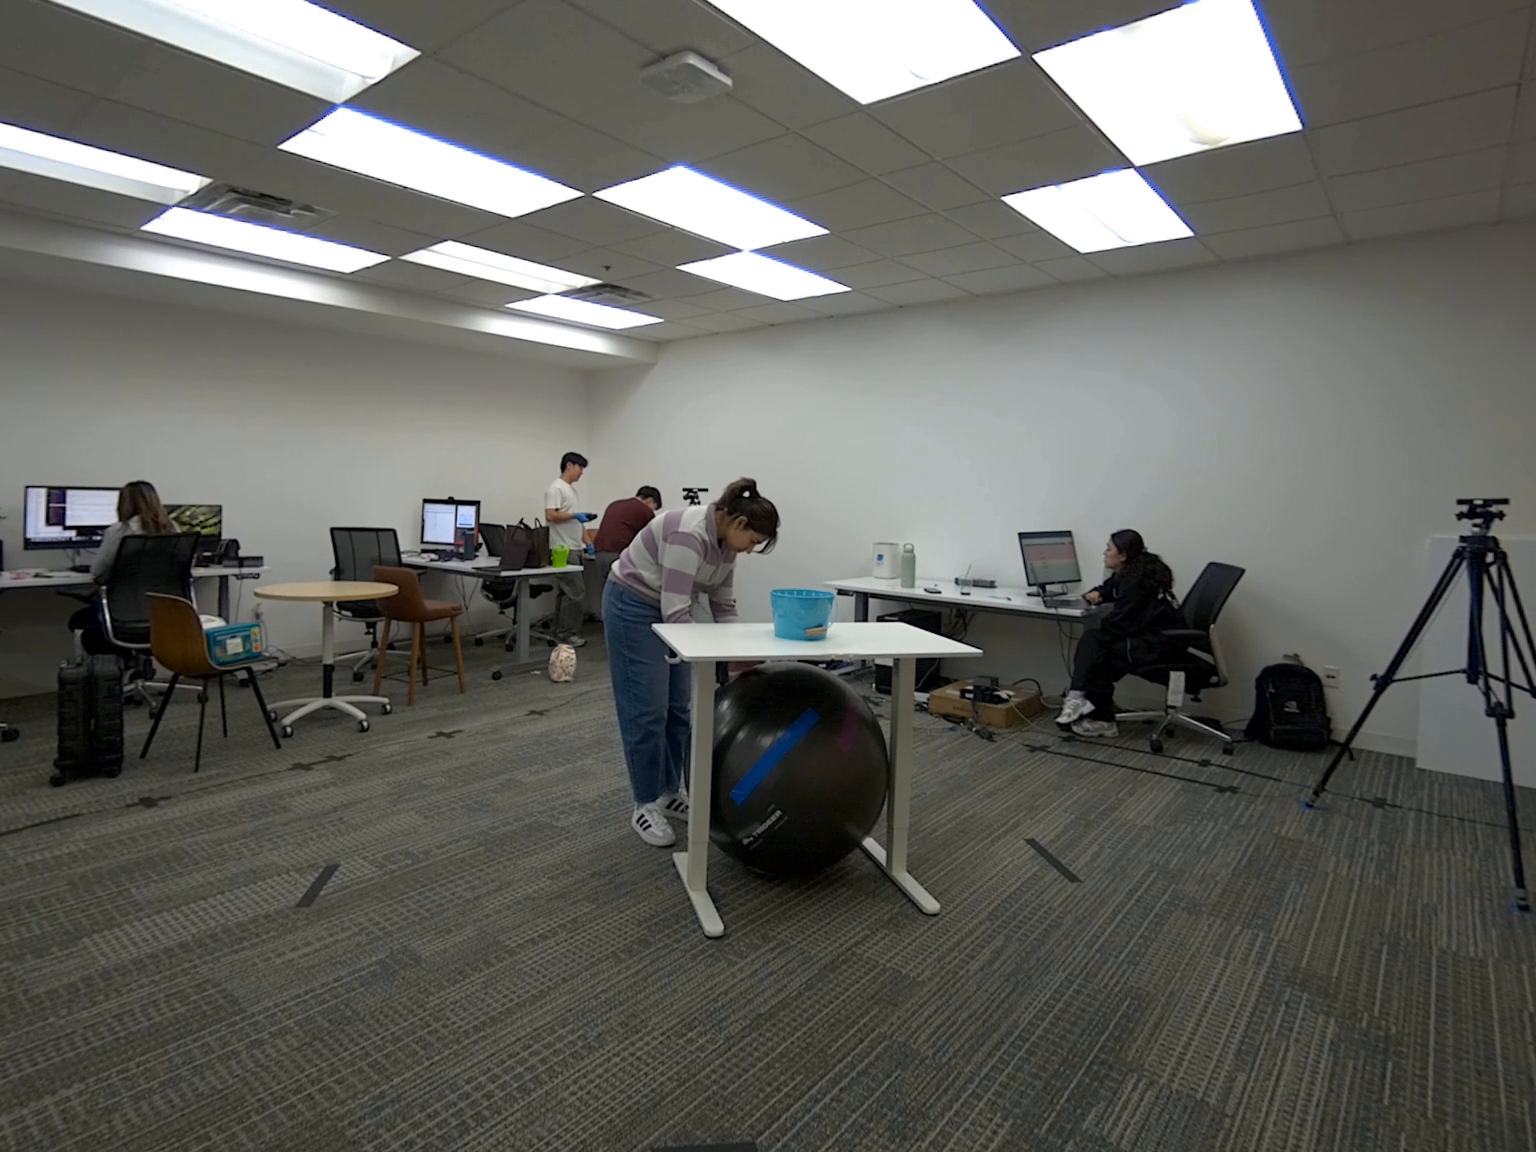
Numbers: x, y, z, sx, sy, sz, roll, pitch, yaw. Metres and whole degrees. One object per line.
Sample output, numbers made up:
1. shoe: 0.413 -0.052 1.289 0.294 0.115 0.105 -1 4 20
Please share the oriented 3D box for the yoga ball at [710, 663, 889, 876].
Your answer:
1. yoga ball: 0.071 0.708 3.153 0.757 0.755 0.762 1 4 -2
